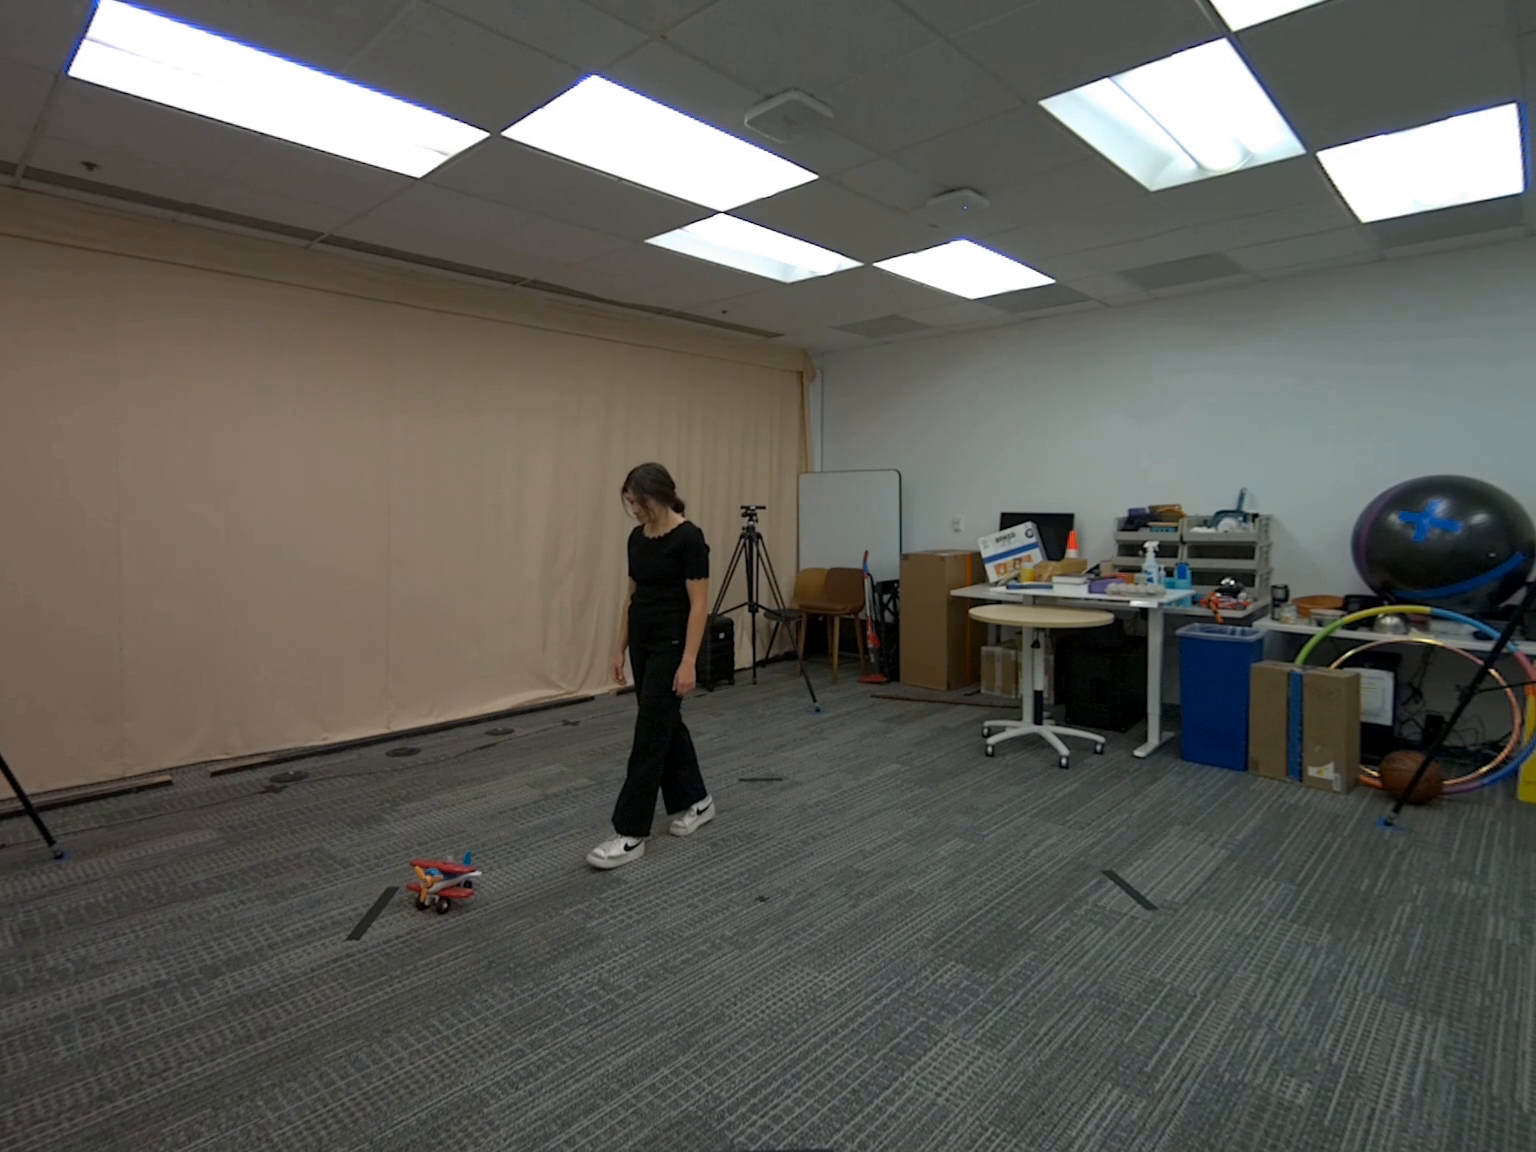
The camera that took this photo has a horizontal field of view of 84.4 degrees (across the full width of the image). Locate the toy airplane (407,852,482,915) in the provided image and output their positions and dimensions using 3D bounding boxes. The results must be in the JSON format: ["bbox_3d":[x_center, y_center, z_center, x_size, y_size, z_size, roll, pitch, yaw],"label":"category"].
[{"bbox_3d":[-1.157,1.080,2.991,0.248,0.156,0.263,-1,5,-11],"label":"toy airplane"}]
